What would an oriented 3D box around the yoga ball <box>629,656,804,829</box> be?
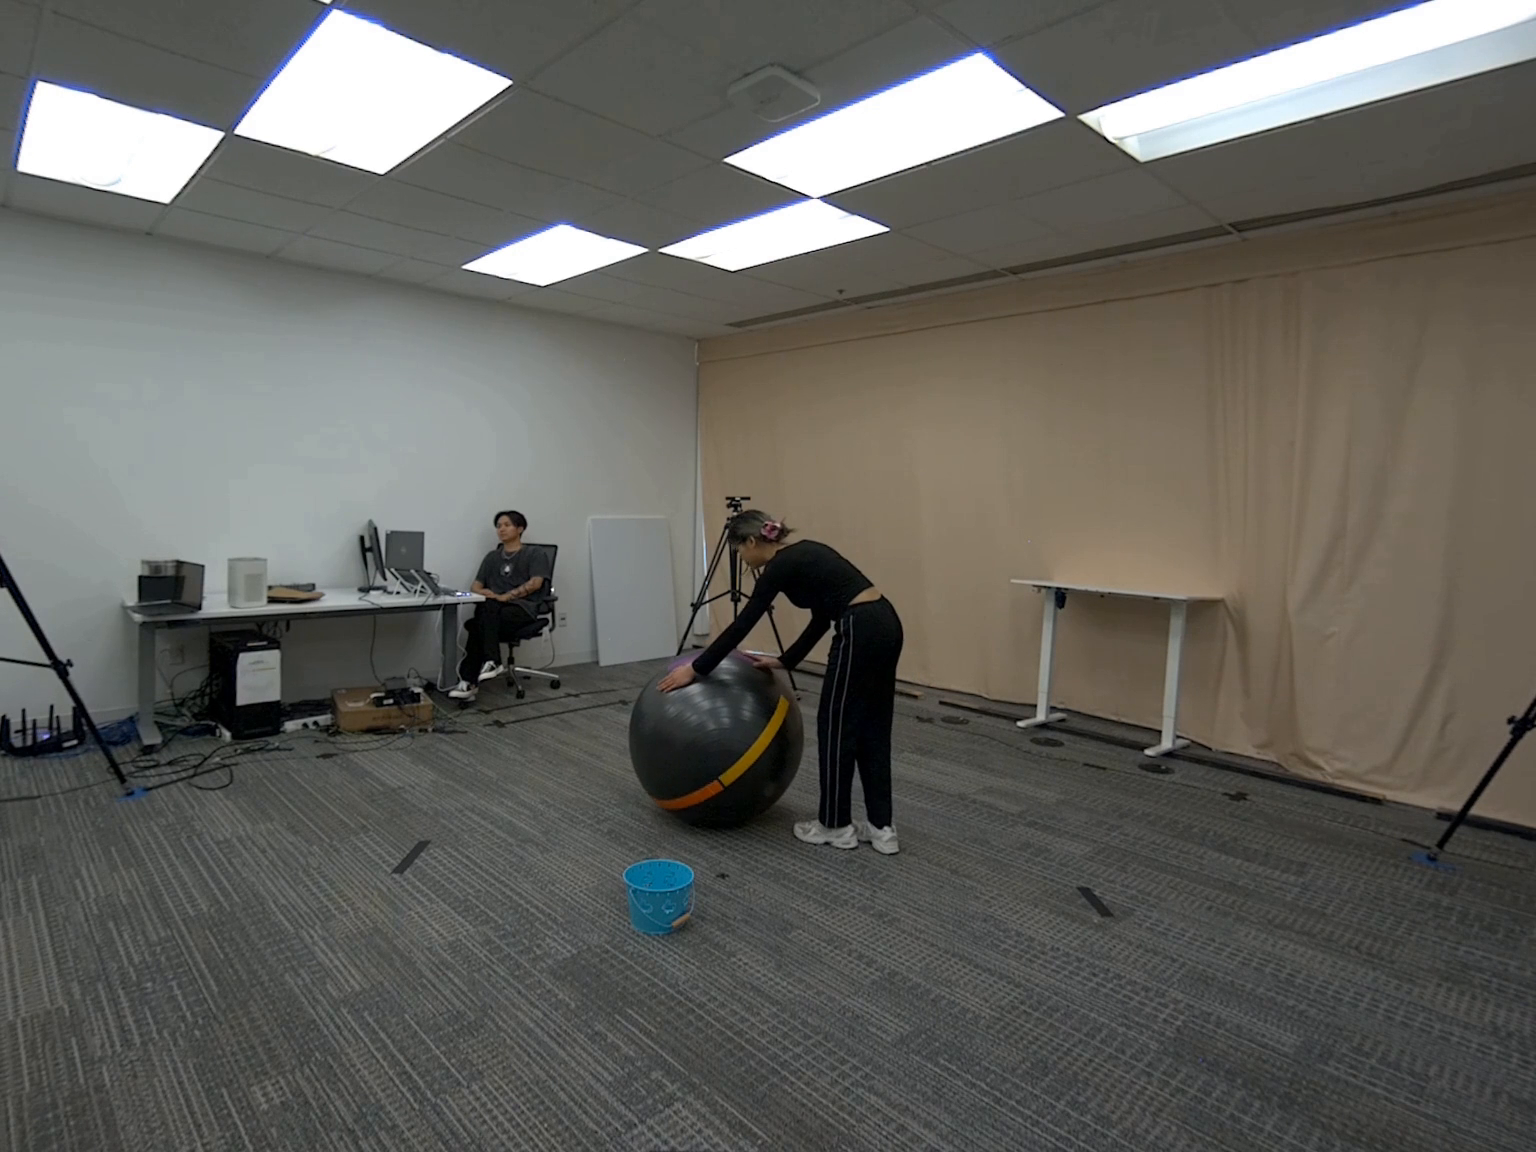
[{"bbox_3d":[-0.232,0.692,3.656,0.757,0.756,0.761,1,4,-1],"label":"yoga ball"}]
